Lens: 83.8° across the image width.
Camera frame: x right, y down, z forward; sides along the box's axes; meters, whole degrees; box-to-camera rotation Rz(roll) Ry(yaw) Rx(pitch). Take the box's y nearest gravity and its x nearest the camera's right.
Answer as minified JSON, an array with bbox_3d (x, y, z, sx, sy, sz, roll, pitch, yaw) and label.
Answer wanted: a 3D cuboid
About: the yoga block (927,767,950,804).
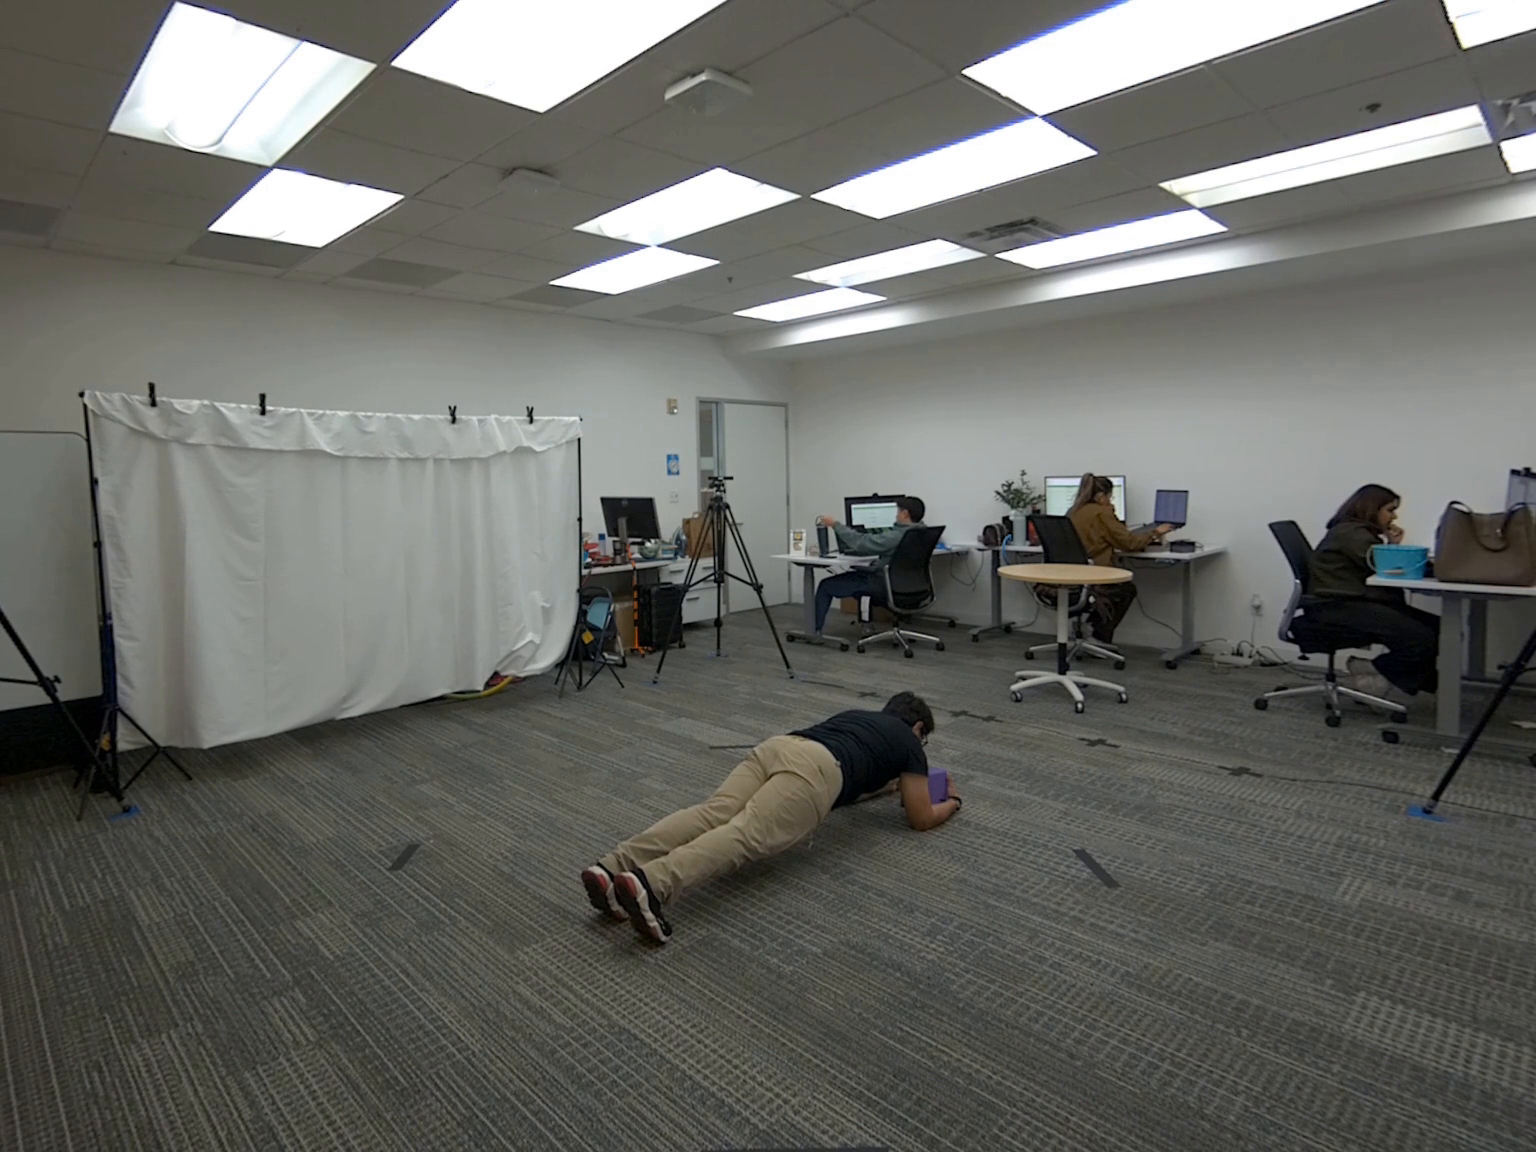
[{"bbox_3d":[0.637,0.862,3.510,0.222,0.150,0.078,6,-8,-38],"label":"yoga block"}]
